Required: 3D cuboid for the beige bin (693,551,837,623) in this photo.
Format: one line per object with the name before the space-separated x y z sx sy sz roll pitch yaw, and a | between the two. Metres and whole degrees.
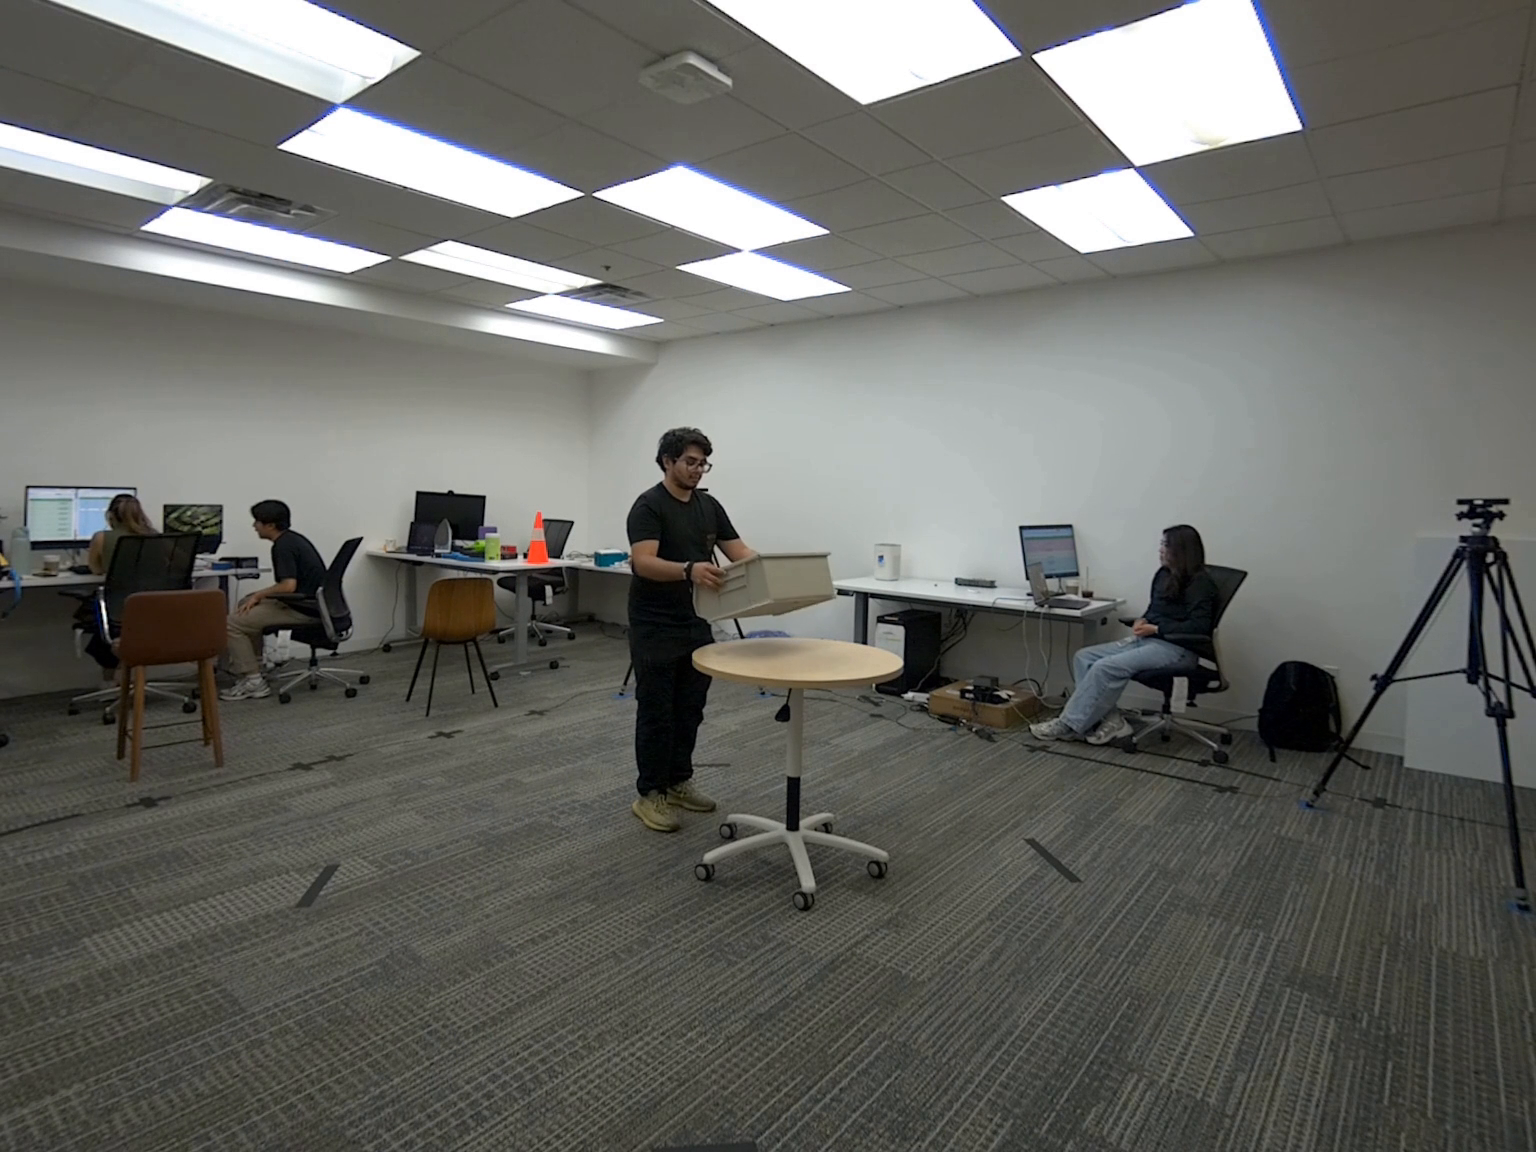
beige bin | -0.032 0.044 3.243 0.409 0.191 0.385 -1 -13 -45
